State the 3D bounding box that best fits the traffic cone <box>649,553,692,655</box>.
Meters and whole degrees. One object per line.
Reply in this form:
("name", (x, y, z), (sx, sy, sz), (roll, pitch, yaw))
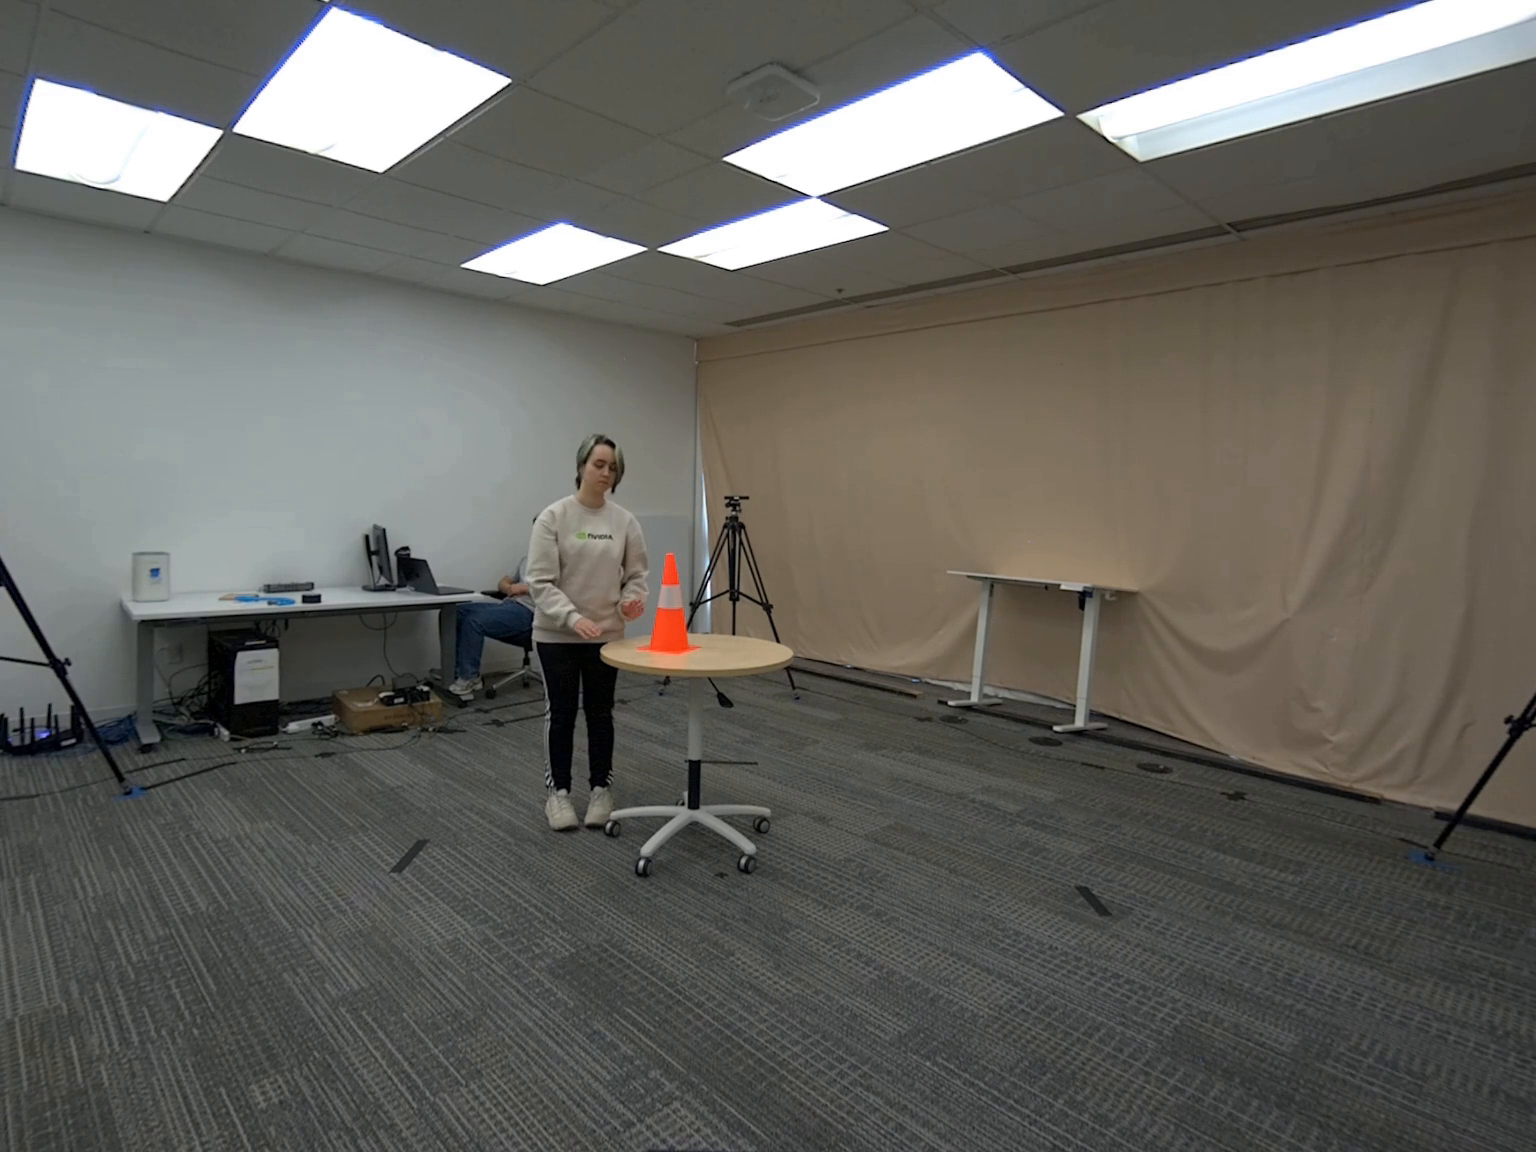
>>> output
("traffic cone", (-0.402, 0.102, 3.358), (0.208, 0.382, 0.201), (3, 6, 36))
